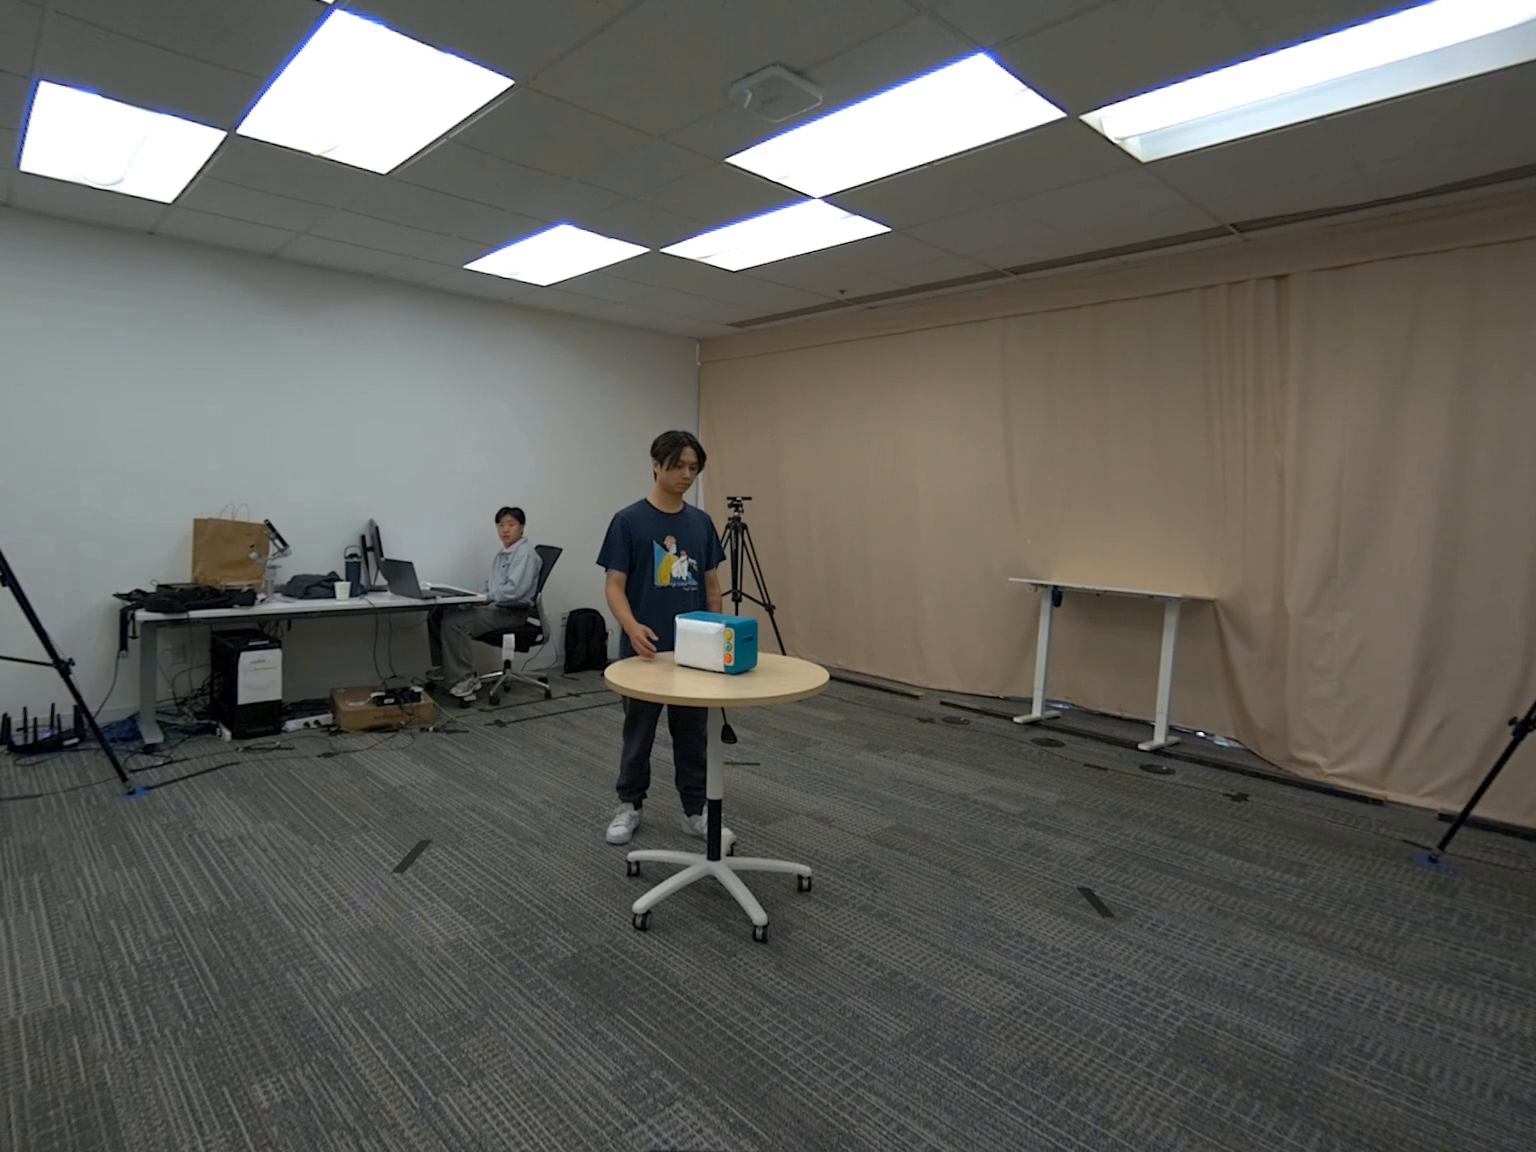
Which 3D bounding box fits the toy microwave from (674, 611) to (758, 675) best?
[{"bbox_3d":[-0.193,0.235,2.912,0.293,0.183,0.149,4,7,32],"label":"toy microwave"}]
